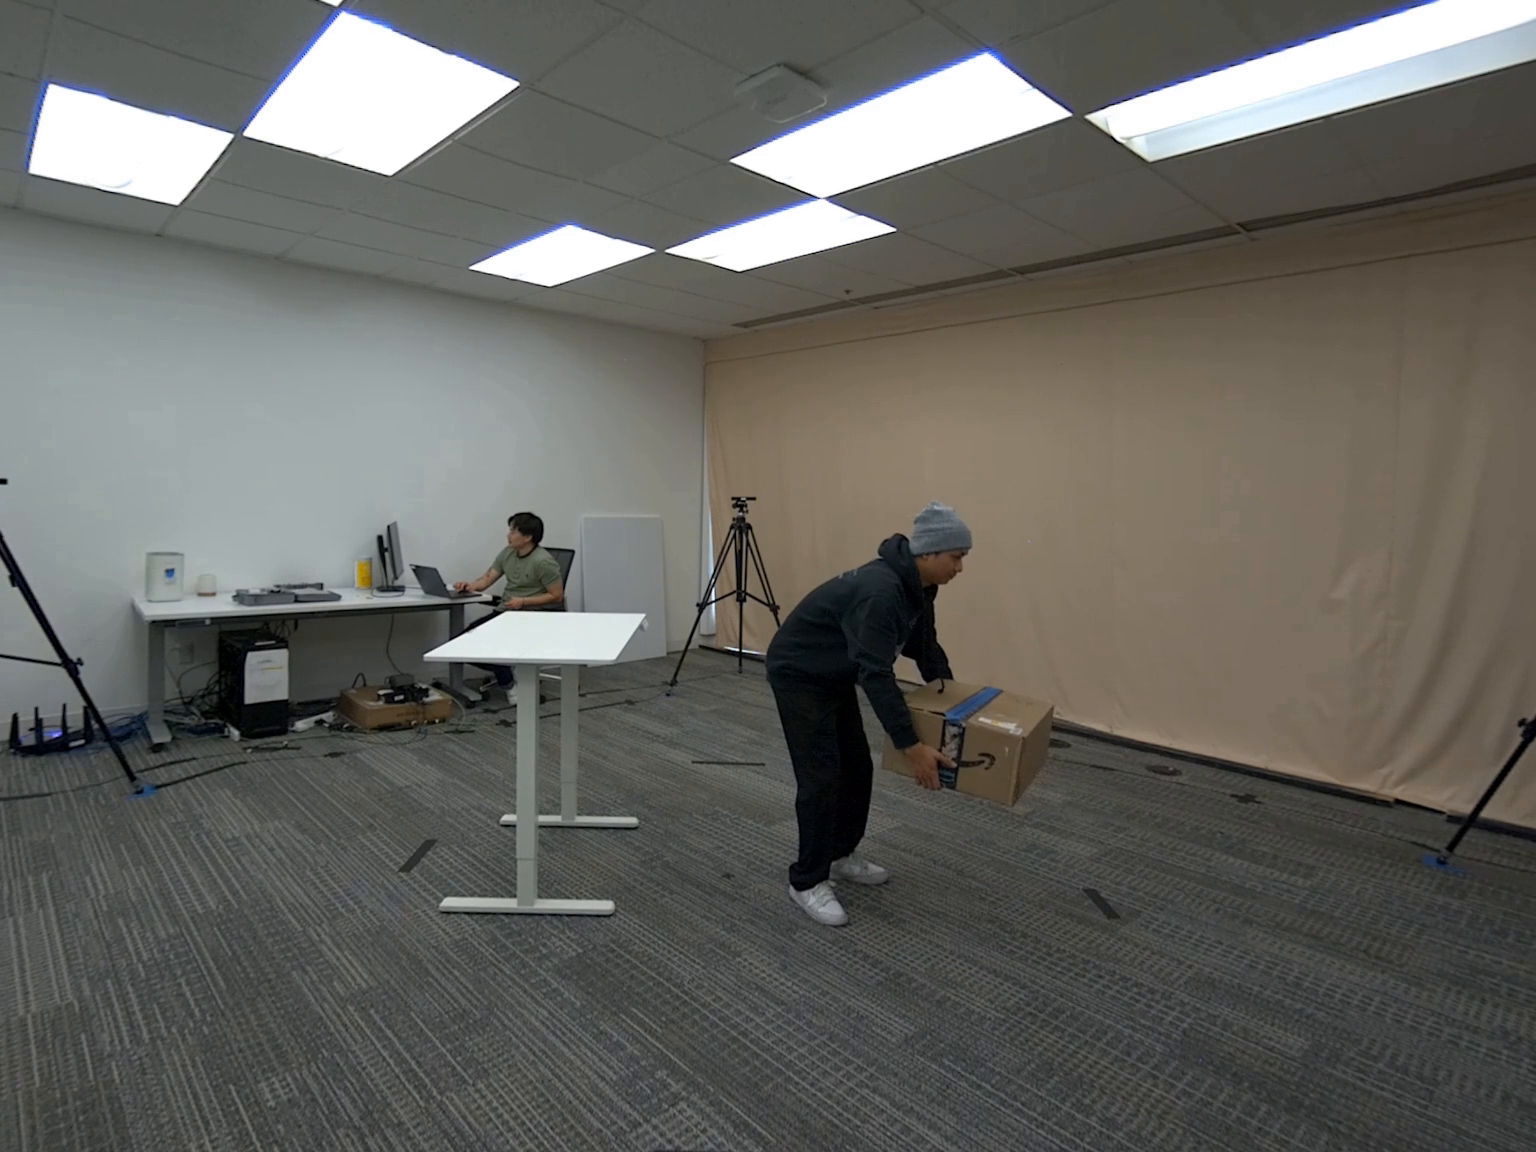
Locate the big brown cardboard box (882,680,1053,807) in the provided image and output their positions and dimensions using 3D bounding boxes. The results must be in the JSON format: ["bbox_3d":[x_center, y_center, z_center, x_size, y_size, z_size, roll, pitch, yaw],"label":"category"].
[{"bbox_3d":[0.667,0.528,2.796,0.427,0.232,0.577,10,6,28],"label":"big brown cardboard box"}]
